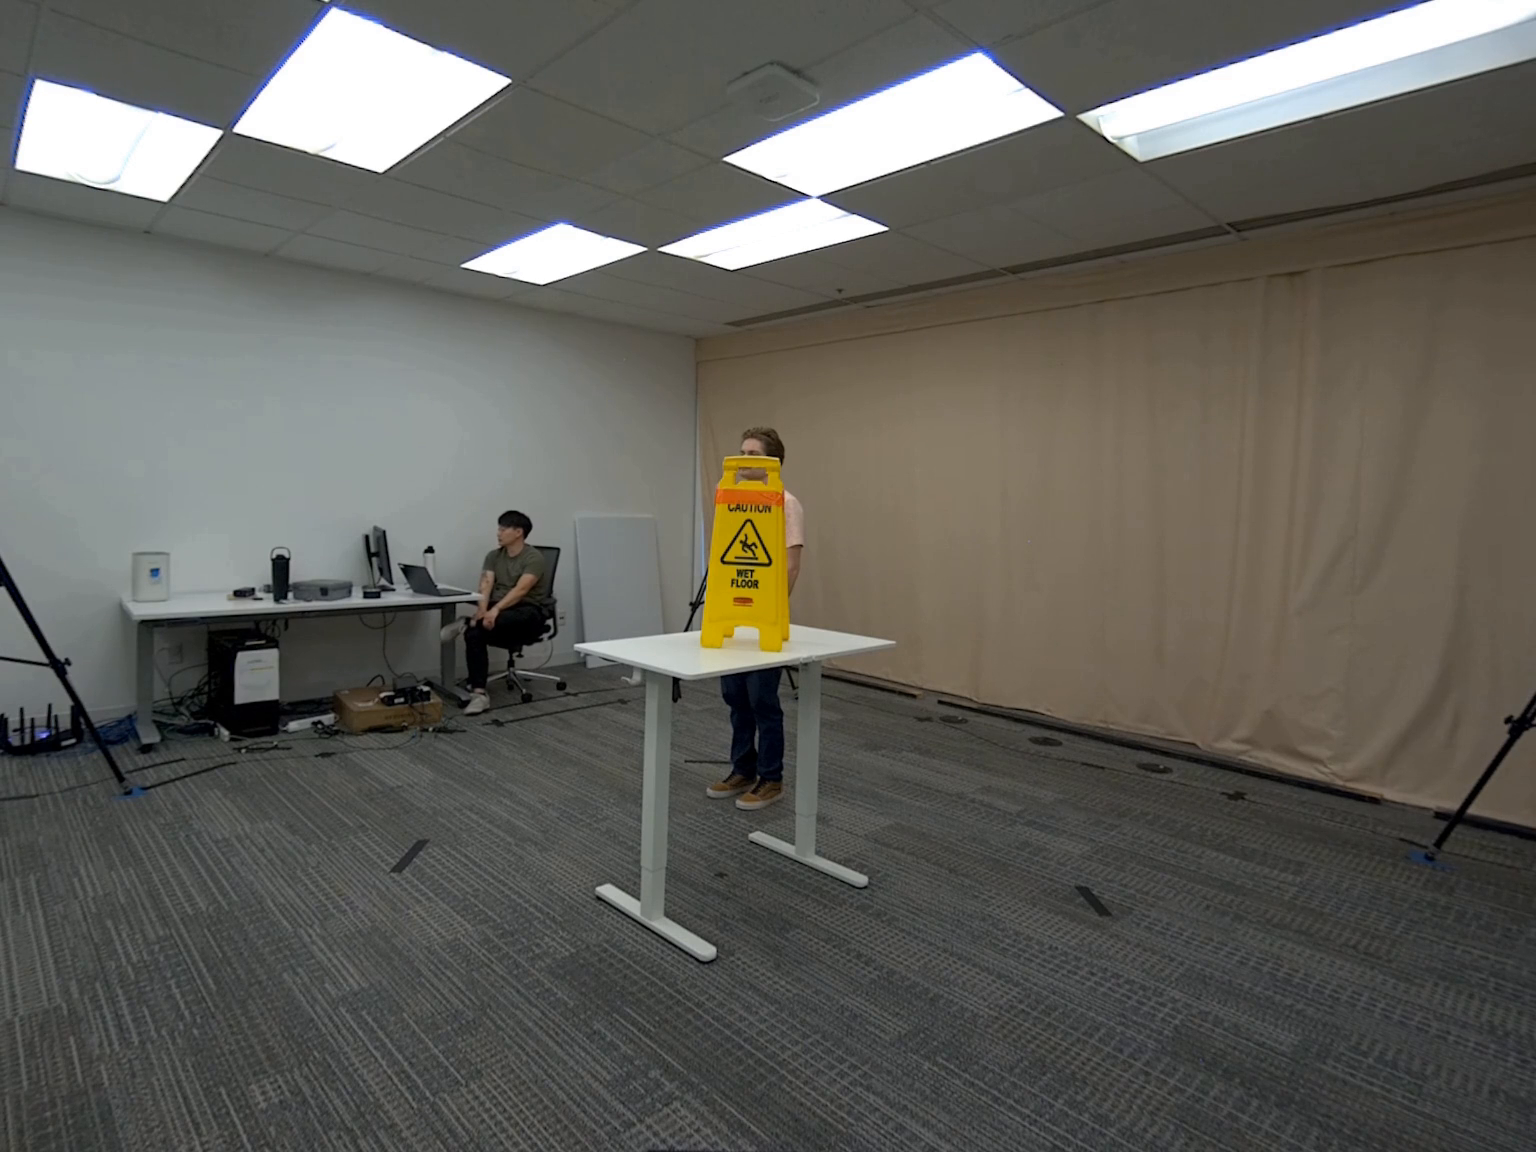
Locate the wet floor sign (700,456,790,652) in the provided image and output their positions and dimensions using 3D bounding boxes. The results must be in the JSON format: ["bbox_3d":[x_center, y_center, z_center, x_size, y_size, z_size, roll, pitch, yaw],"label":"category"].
[{"bbox_3d":[-0.073,-0.085,2.923,0.284,0.645,0.288,3,3,7],"label":"wet floor sign"}]
